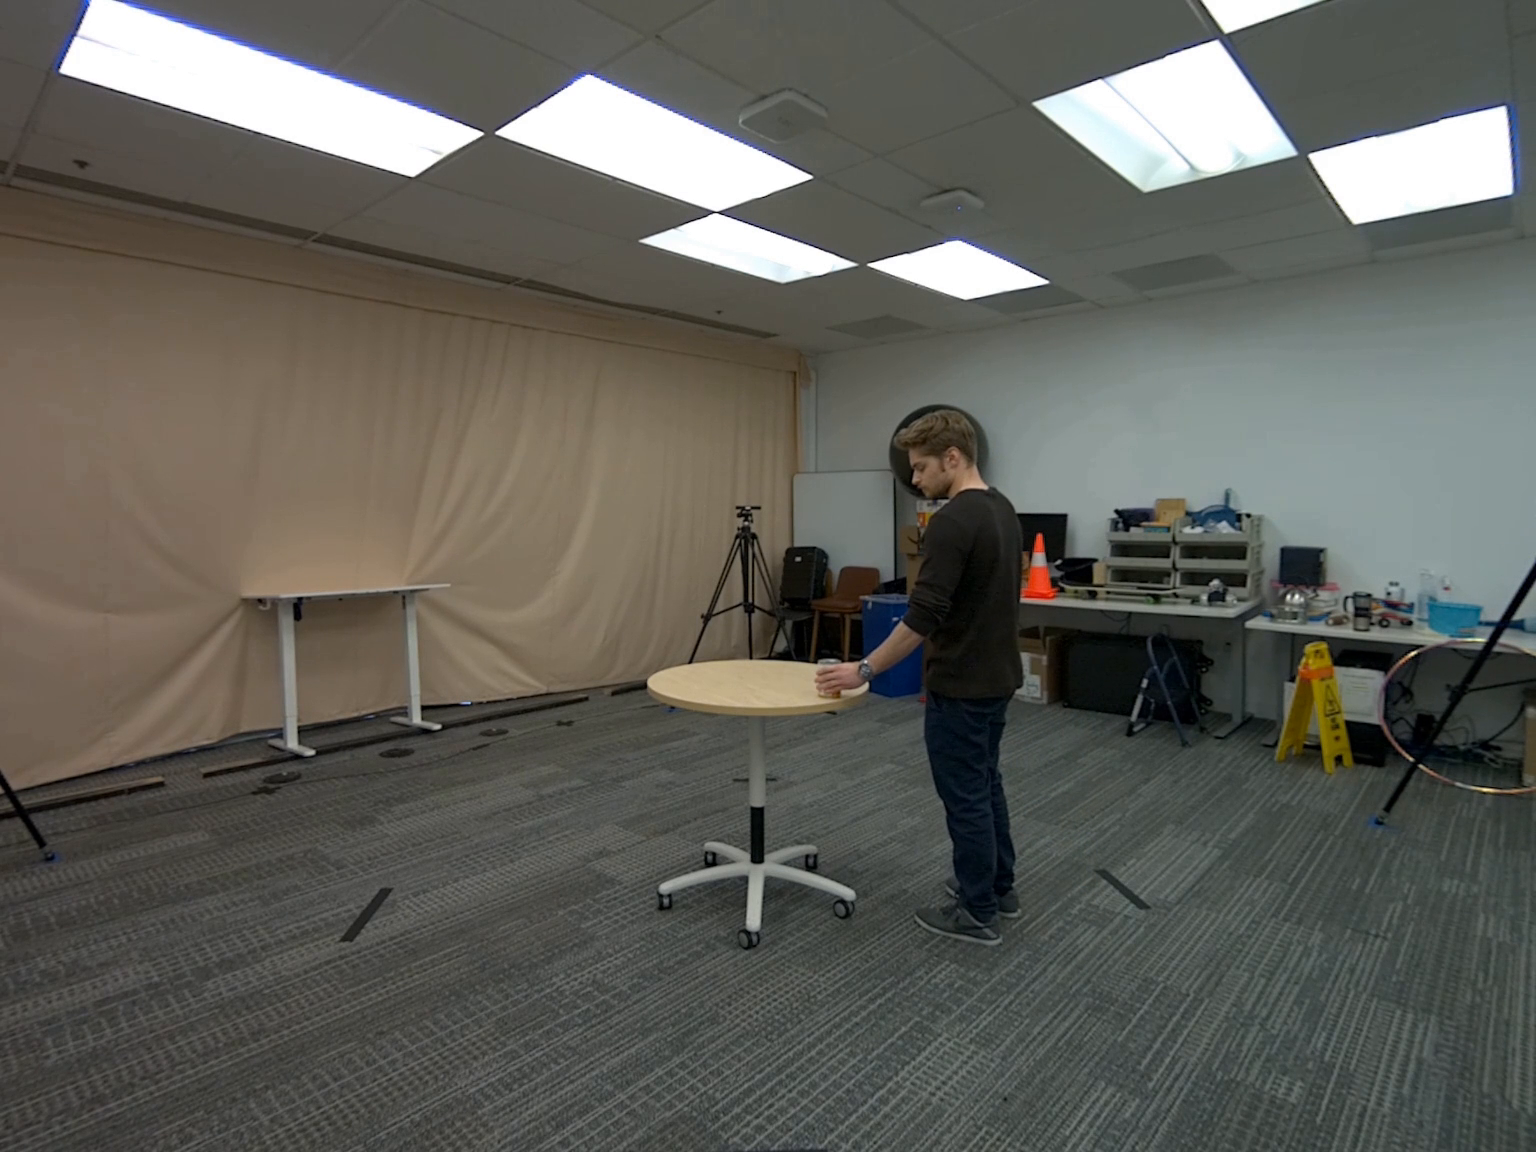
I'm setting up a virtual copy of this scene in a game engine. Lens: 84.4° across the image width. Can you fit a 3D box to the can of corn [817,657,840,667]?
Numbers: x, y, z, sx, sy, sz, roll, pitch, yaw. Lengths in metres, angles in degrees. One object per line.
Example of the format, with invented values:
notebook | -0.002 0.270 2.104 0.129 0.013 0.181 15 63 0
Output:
can of corn | 0.214 0.334 2.691 0.074 0.110 0.074 0 7 -2
